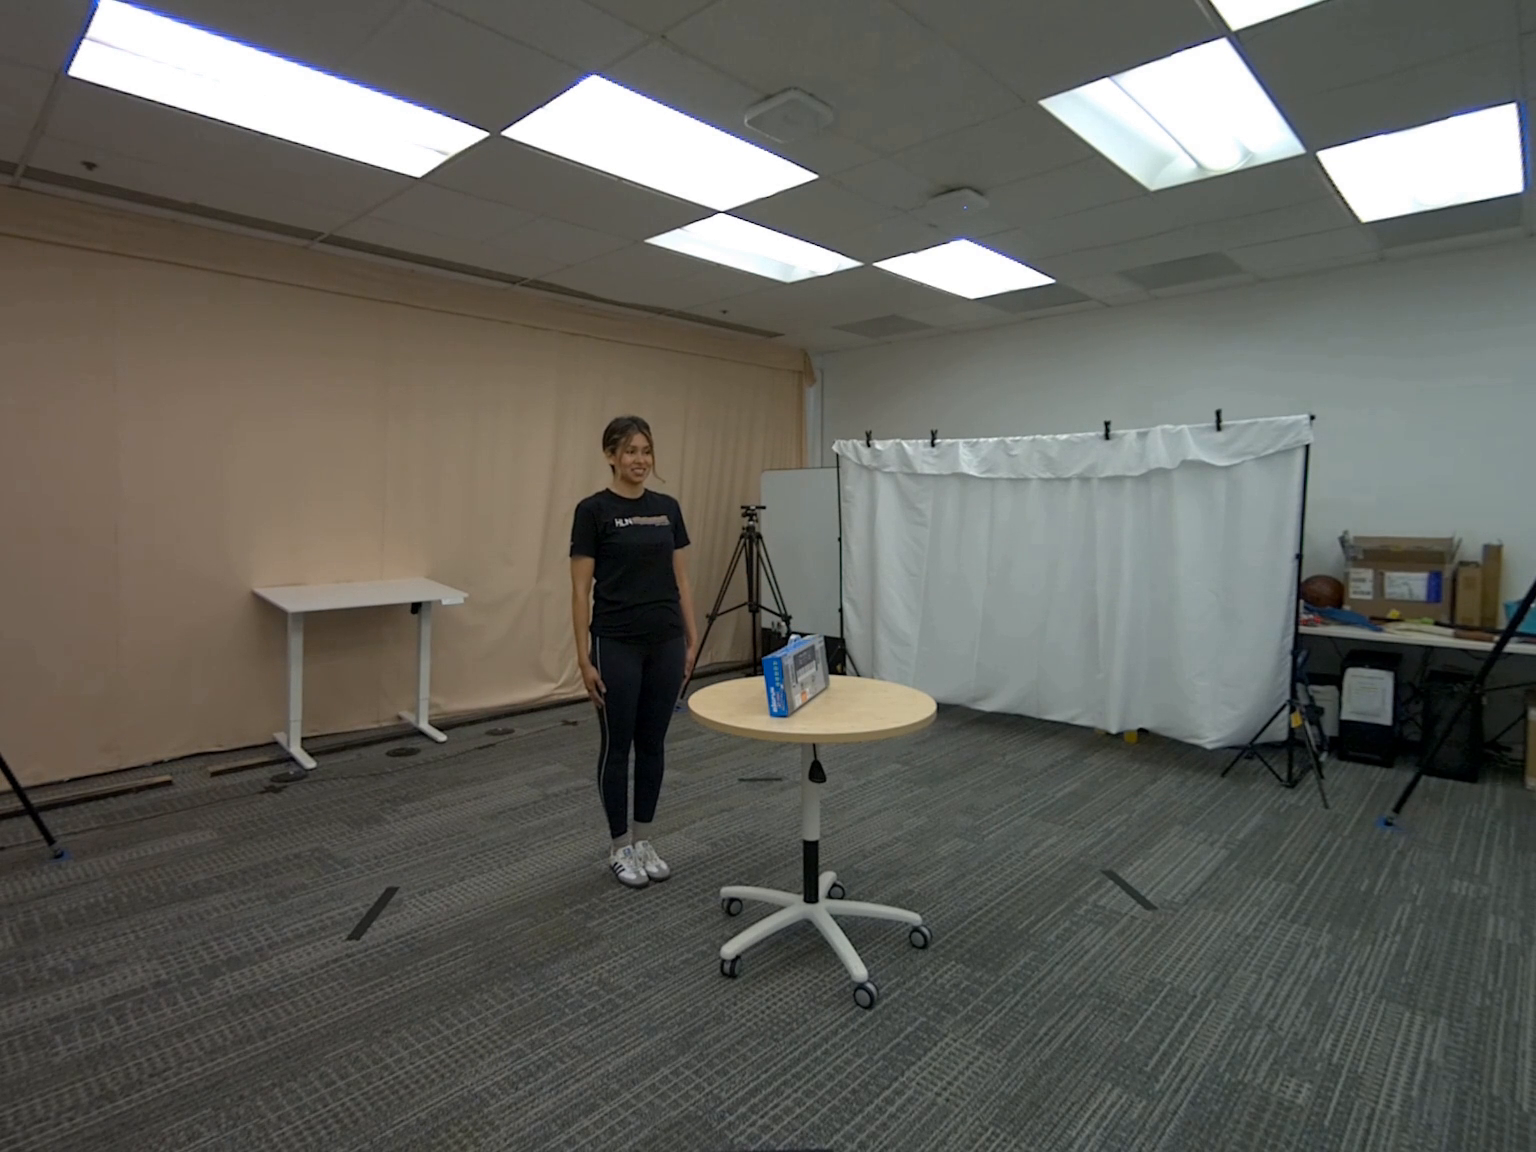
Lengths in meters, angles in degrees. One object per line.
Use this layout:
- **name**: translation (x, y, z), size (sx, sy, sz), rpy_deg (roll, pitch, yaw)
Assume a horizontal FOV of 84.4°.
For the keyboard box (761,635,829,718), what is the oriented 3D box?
- **keyboard box**: translation (0.097, 0.302, 2.623), size (0.060, 0.176, 0.429), rpy_deg (-7, 3, 20)
